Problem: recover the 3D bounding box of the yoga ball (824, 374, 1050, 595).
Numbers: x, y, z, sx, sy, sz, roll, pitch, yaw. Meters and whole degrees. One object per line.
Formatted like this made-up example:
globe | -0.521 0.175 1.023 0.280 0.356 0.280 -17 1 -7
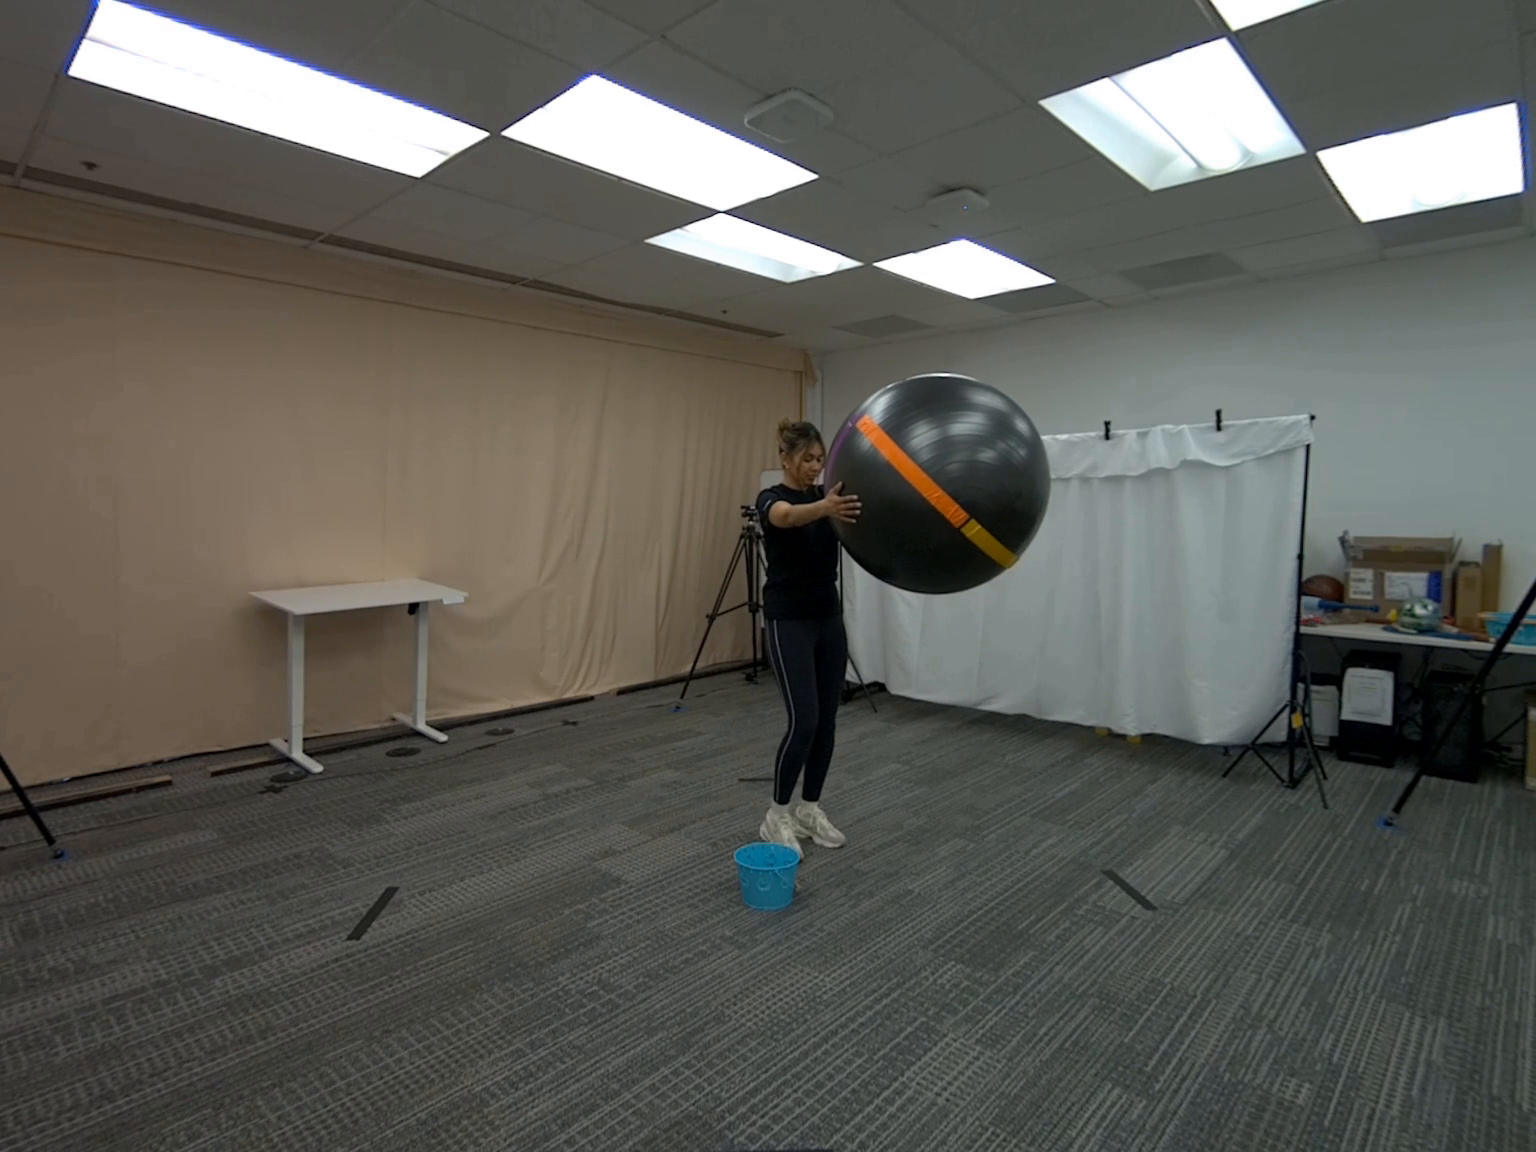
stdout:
yoga ball | 0.572 -0.302 2.917 0.757 0.756 0.760 0 4 -2
